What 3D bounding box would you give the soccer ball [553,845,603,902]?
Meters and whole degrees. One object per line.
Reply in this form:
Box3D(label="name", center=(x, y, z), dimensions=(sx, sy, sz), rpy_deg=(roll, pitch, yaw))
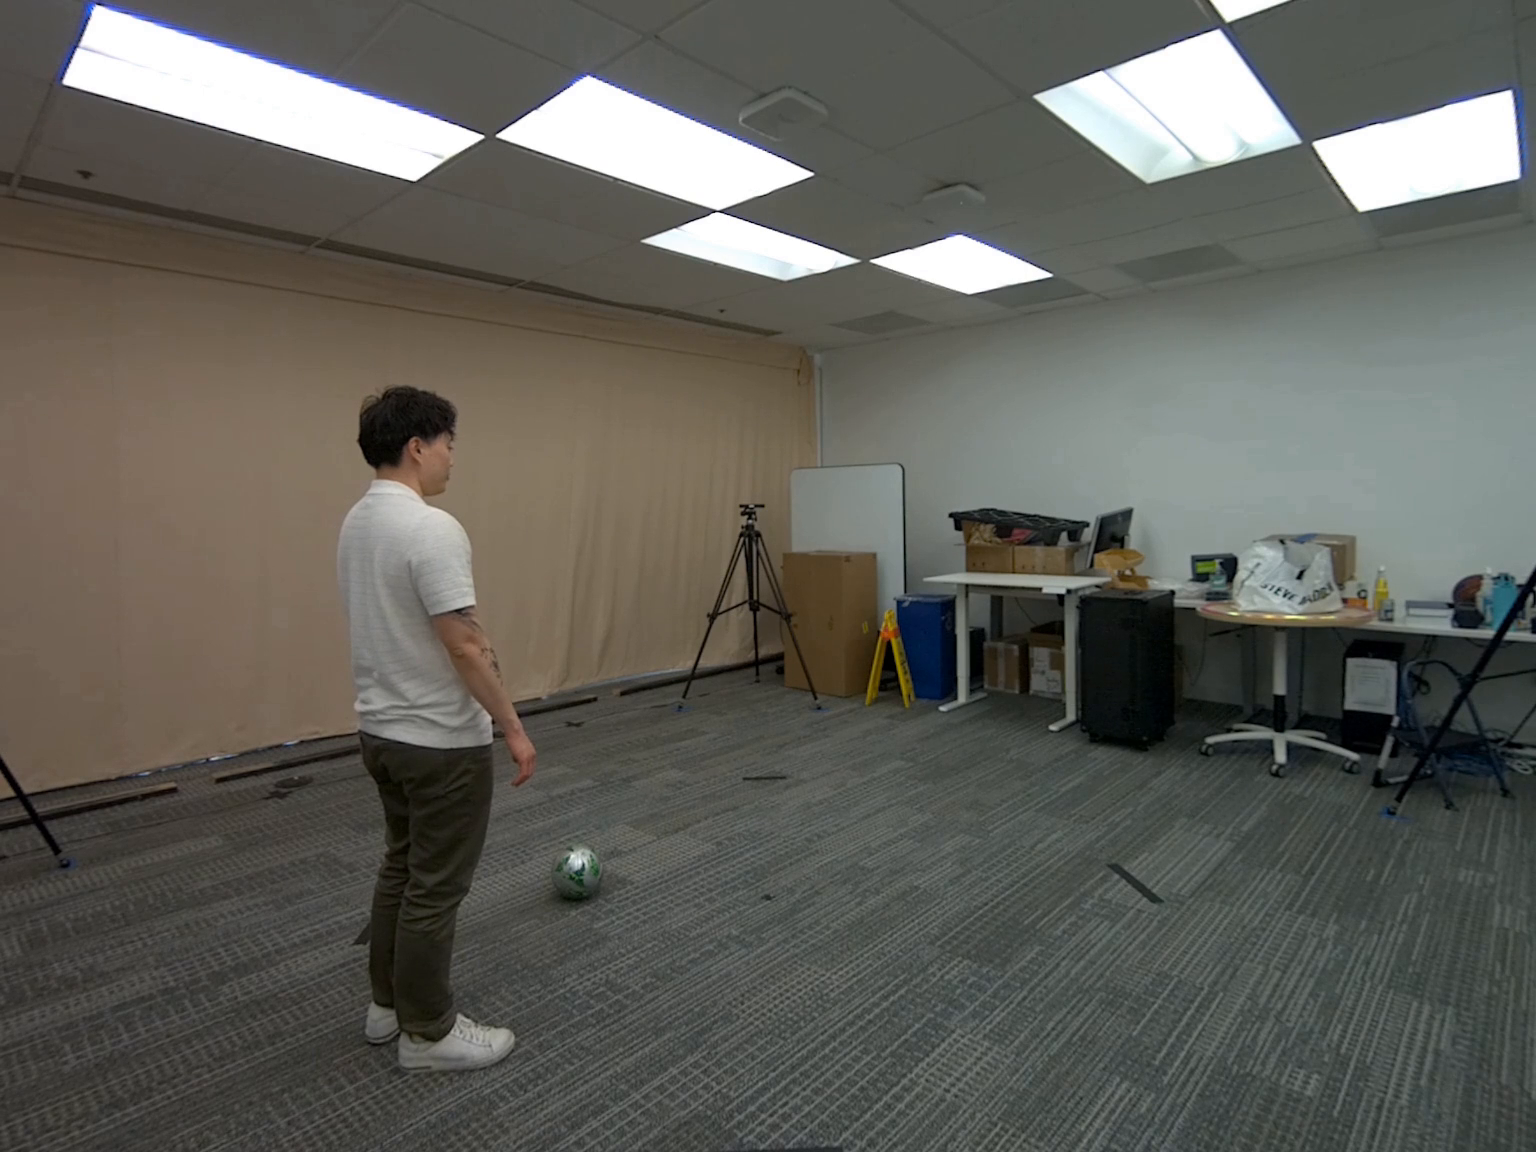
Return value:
Box3D(label="soccer ball", center=(-0.686, 1.059, 3.023), dimensions=(0.187, 0.187, 0.188), rpy_deg=(-1, 4, -2))
